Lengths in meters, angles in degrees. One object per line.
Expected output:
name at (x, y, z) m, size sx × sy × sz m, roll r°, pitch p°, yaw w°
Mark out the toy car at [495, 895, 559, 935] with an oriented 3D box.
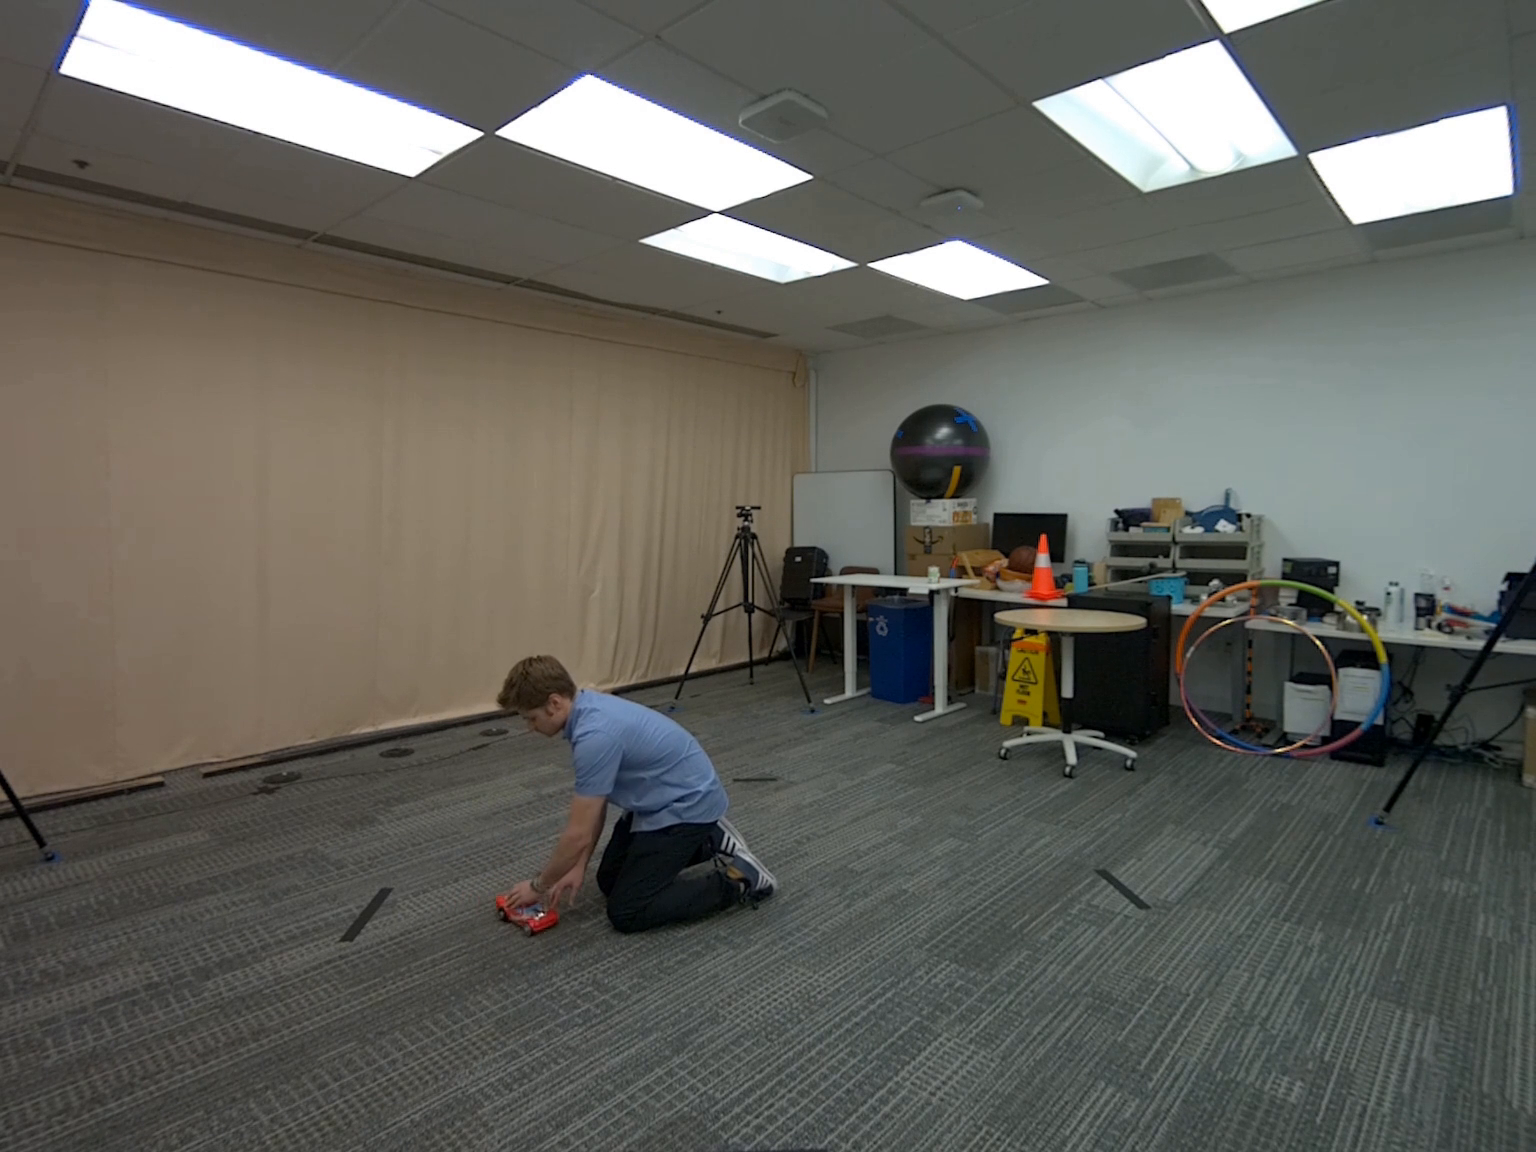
toy car at (-0.824, 1.138, 2.835) m, size 0.264 × 0.083 × 0.126 m, roll 18°, pitch 16°, yaw 40°
